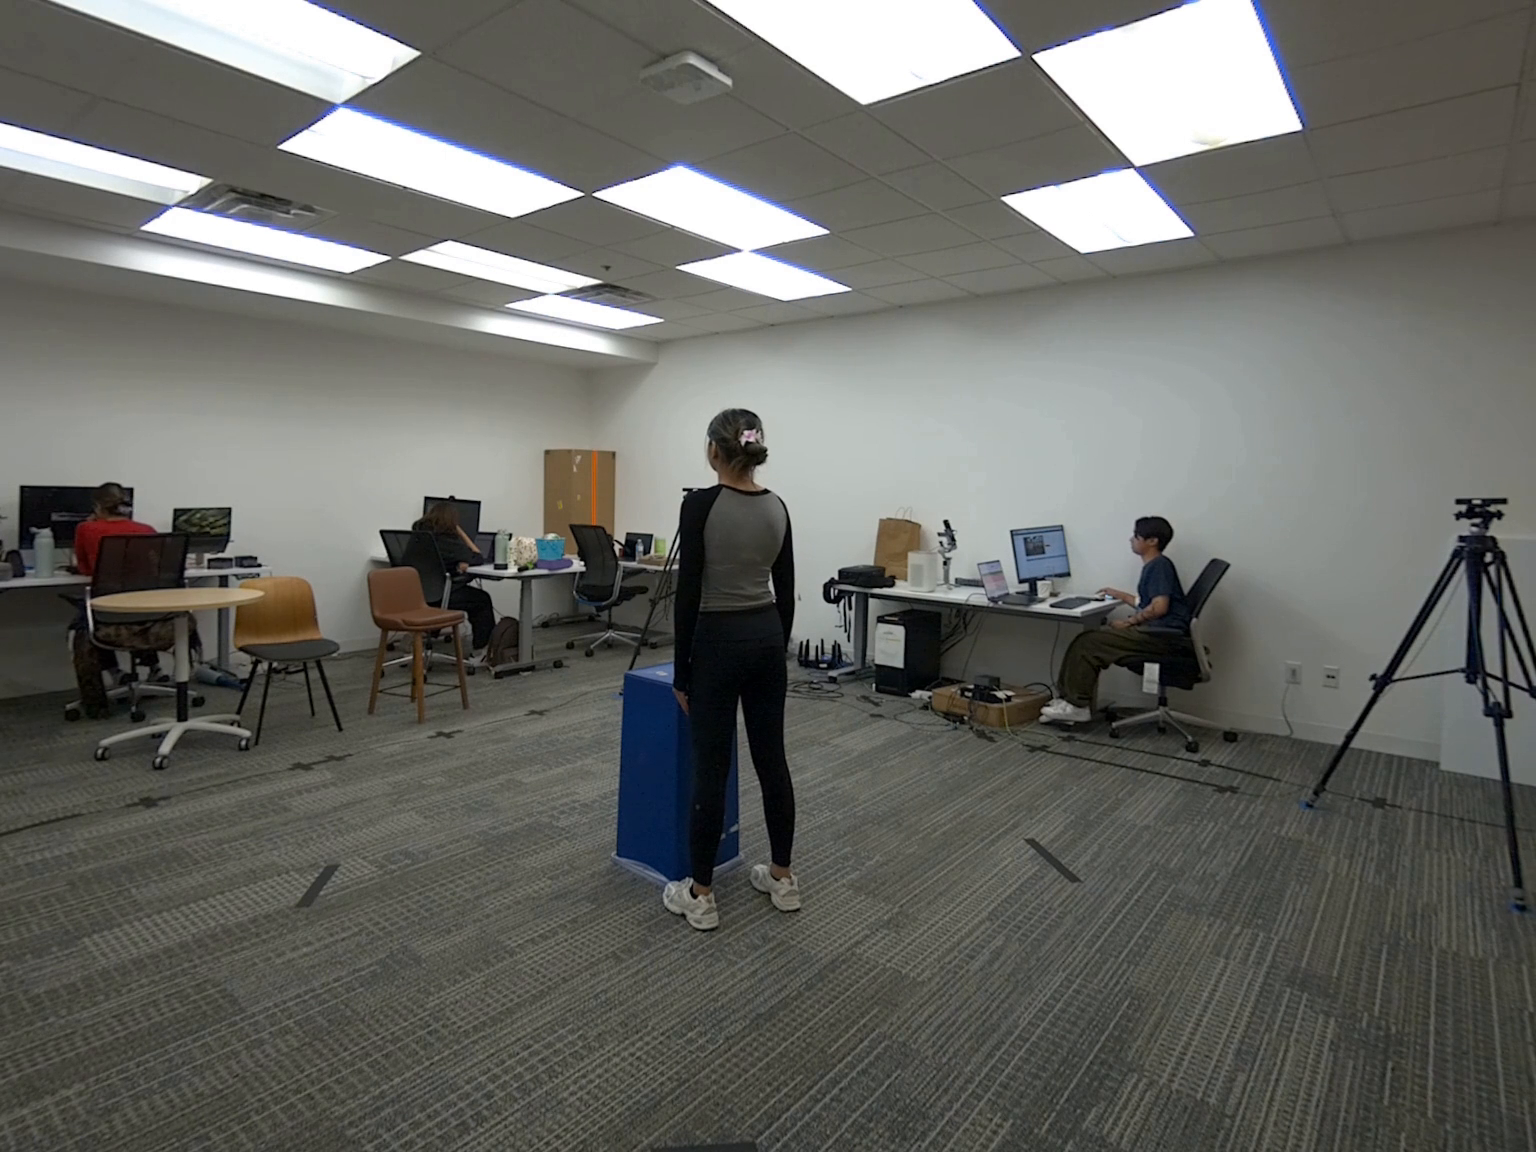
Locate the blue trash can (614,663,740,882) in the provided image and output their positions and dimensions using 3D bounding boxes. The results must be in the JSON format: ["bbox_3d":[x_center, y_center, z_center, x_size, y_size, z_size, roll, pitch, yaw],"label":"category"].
[{"bbox_3d":[-0.350,0.710,3.163,0.391,0.712,0.363,3,4,43],"label":"blue trash can"}]
